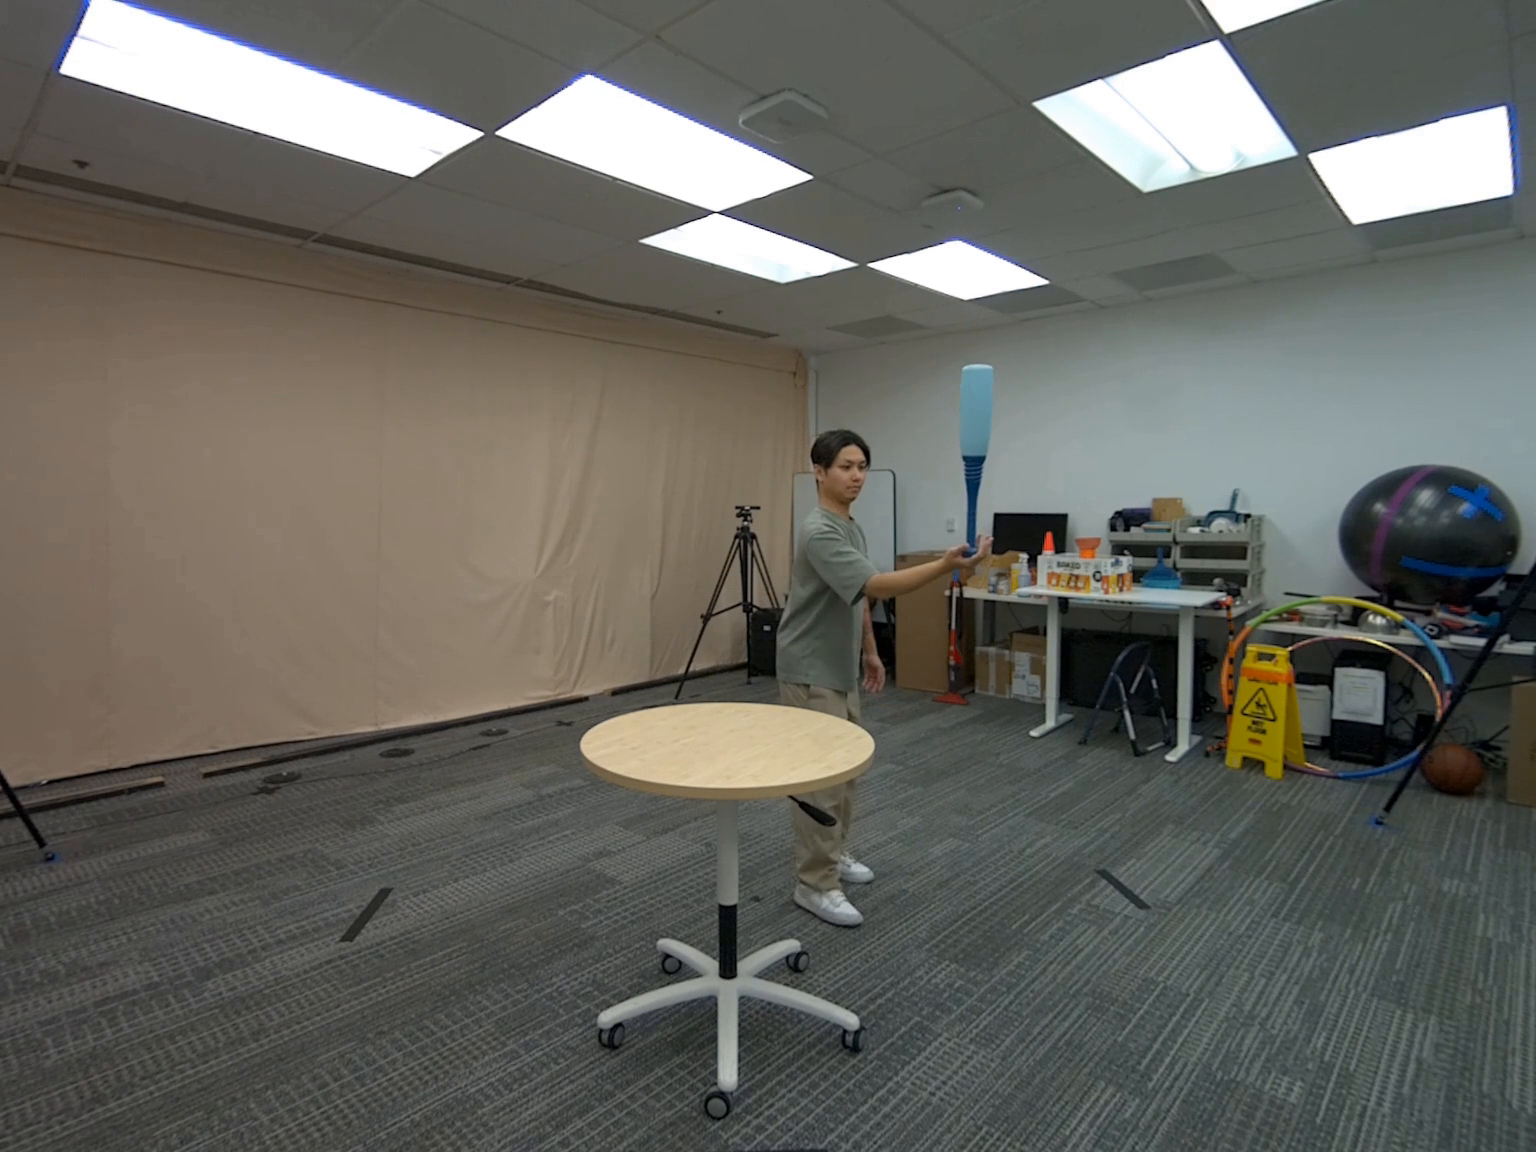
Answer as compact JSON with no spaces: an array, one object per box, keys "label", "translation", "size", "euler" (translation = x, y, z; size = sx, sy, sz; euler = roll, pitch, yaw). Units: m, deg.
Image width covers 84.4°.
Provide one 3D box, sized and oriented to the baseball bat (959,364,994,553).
[{"label":"baseball bat","translation":[0.596,-0.326,2.380],"size":[0.089,0.540,0.090],"euler":[0,9,-2]}]
